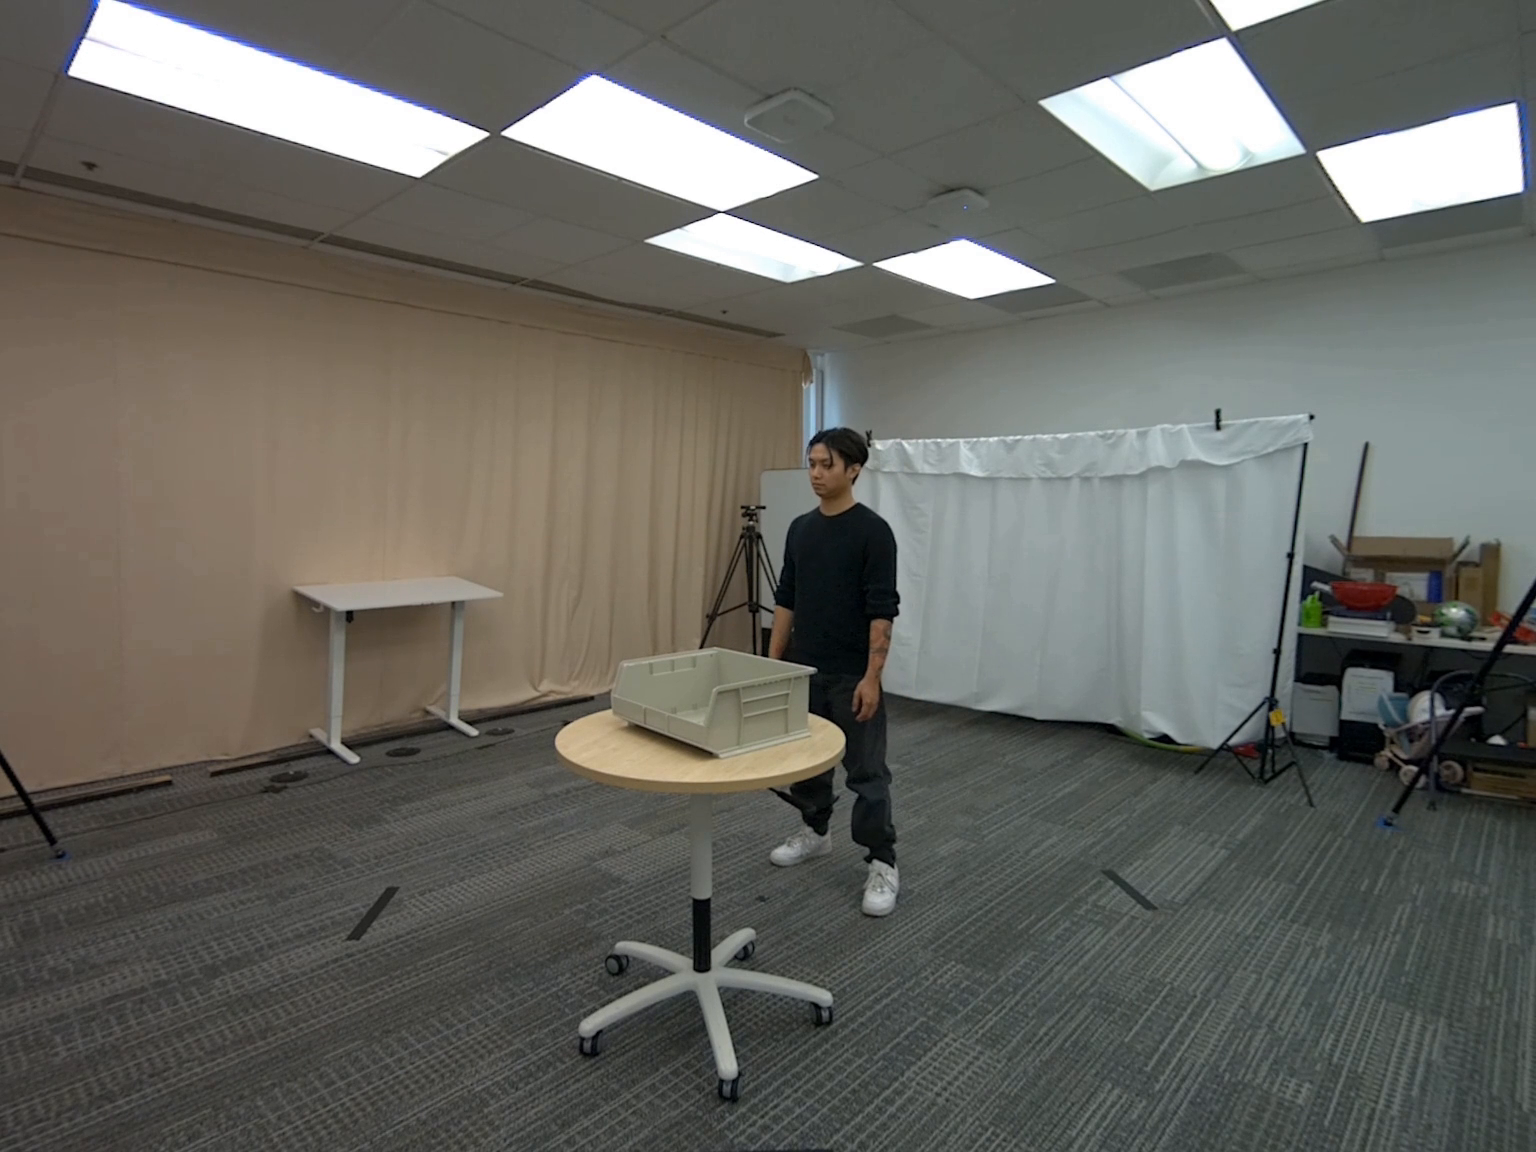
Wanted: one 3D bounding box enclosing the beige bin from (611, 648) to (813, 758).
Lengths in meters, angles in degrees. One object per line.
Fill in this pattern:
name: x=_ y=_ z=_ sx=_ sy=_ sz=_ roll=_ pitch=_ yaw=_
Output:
beige bin: x=-0.152 y=0.329 z=2.269 sx=0.366 sy=0.188 sz=0.436 roll=-2 pitch=4 yaw=-41
